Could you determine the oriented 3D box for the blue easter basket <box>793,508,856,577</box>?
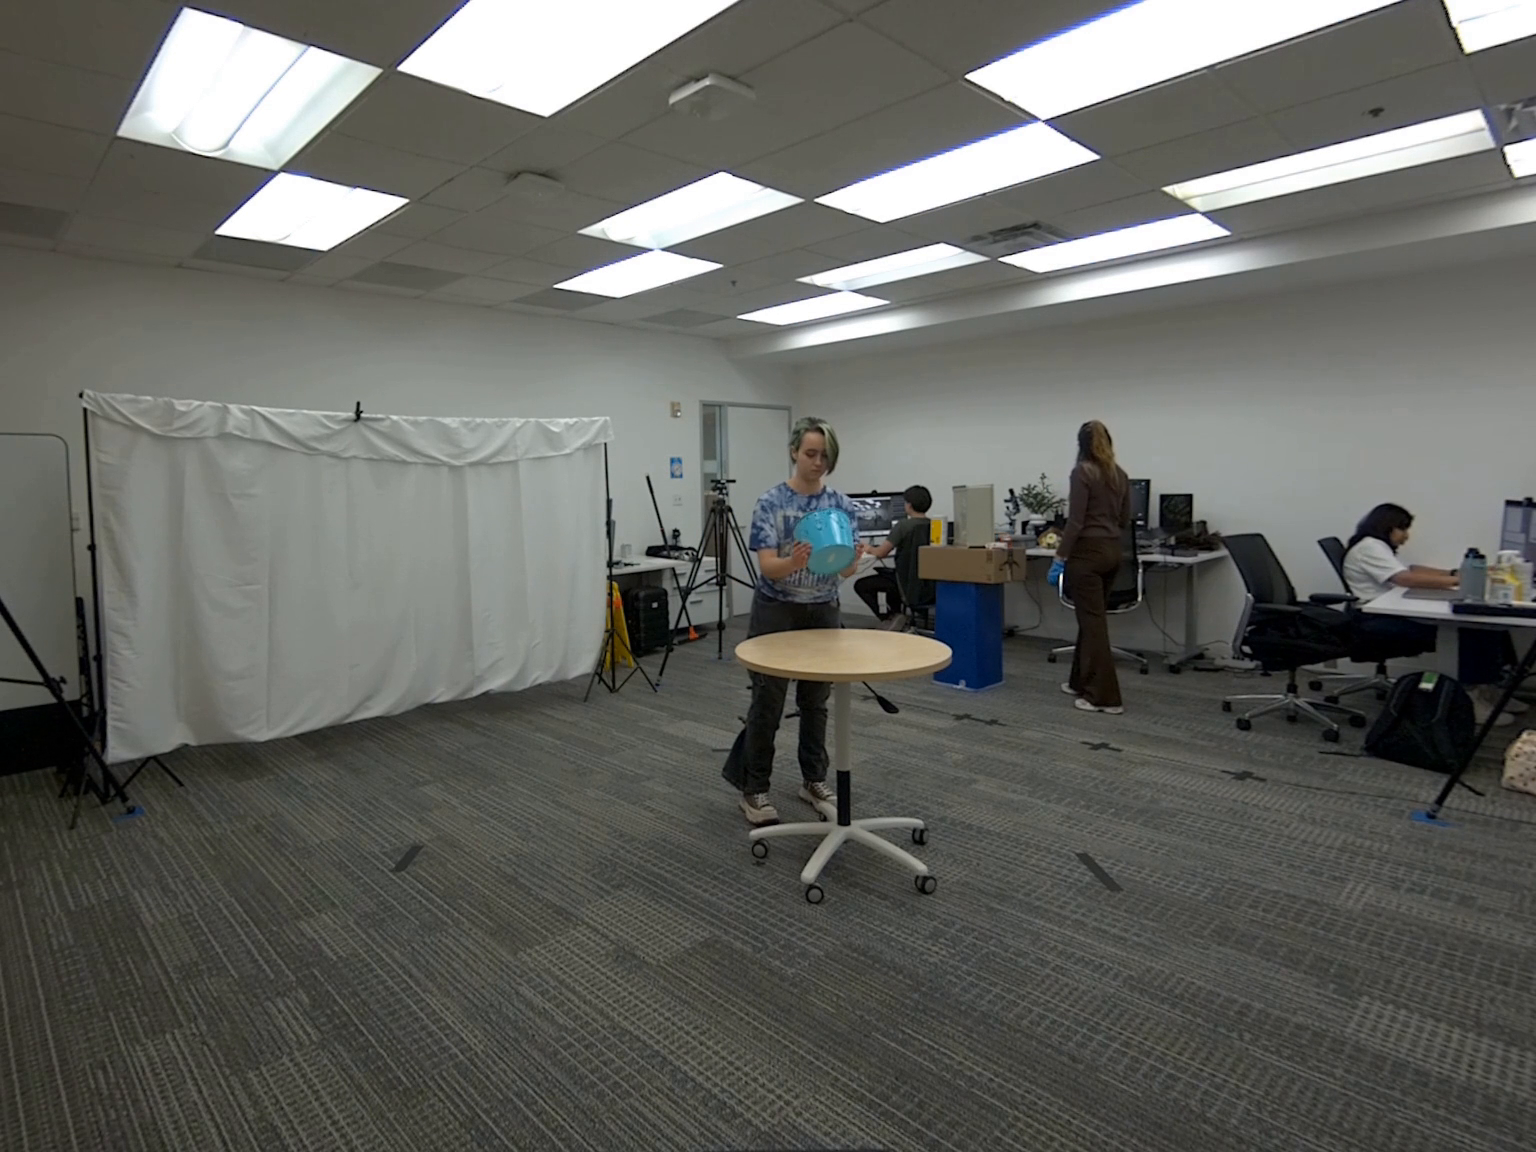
[{"bbox_3d":[0.218,-0.118,3.191,0.242,0.161,0.237,-8,-38,-7],"label":"blue easter basket"}]
